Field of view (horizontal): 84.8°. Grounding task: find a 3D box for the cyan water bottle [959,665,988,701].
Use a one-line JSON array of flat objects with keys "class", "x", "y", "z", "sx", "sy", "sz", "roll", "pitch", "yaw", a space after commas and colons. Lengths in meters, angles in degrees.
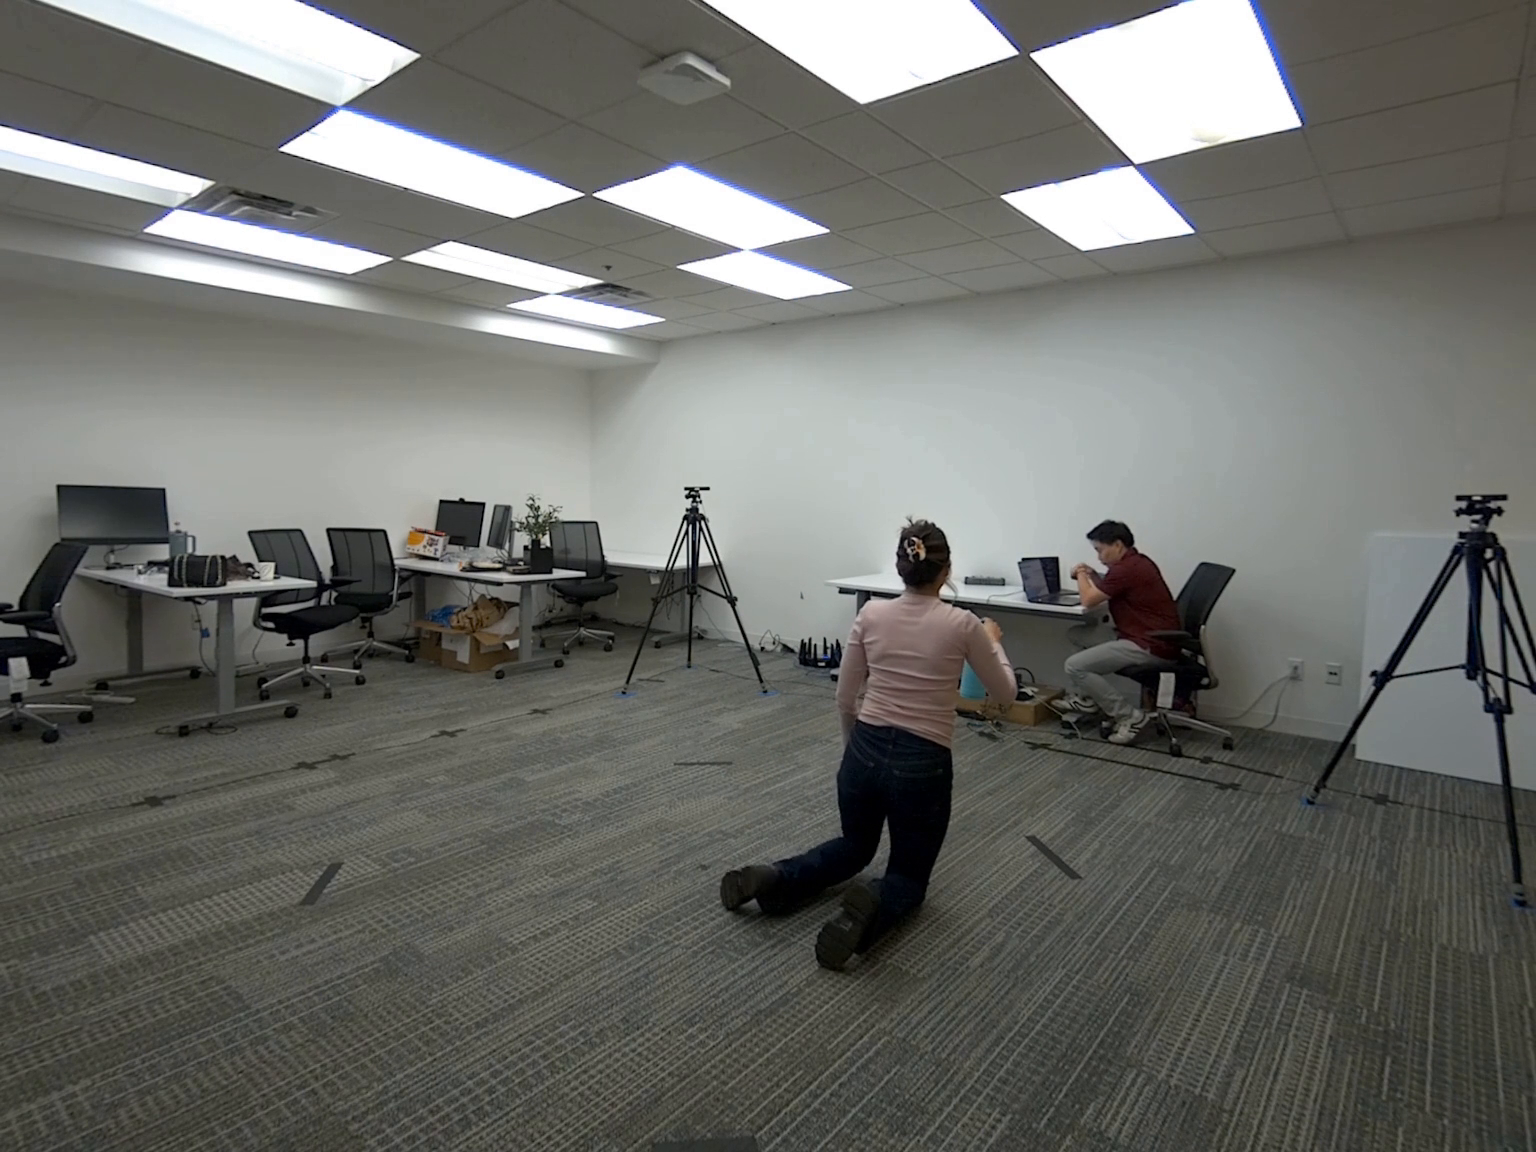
[{"class": "cyan water bottle", "x": 0.761, "y": 0.298, "z": 3.117, "sx": 0.092, "sy": 0.283, "sz": 0.092, "roll": 2, "pitch": 2, "yaw": -2}]
